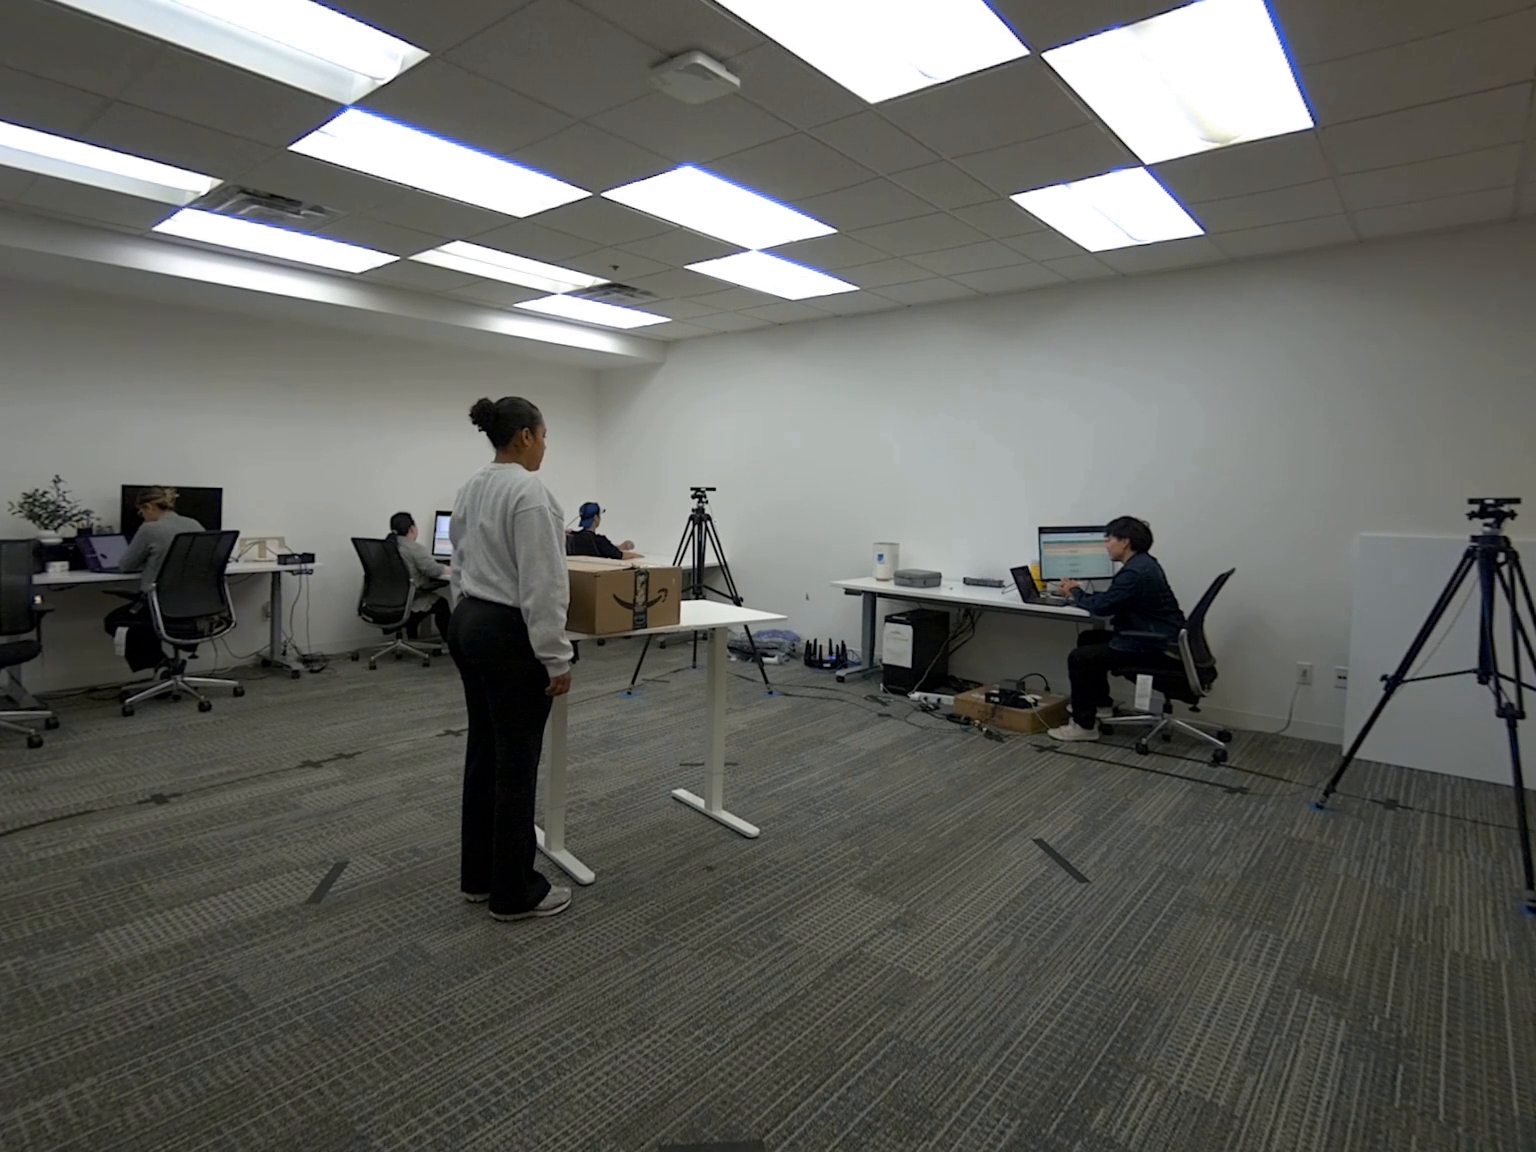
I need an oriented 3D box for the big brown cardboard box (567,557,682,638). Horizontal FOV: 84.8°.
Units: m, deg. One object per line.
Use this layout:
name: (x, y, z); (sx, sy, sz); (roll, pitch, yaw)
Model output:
big brown cardboard box: (-0.681, 0.059, 3.179); (0.608, 0.232, 0.405); (4, 6, 39)
